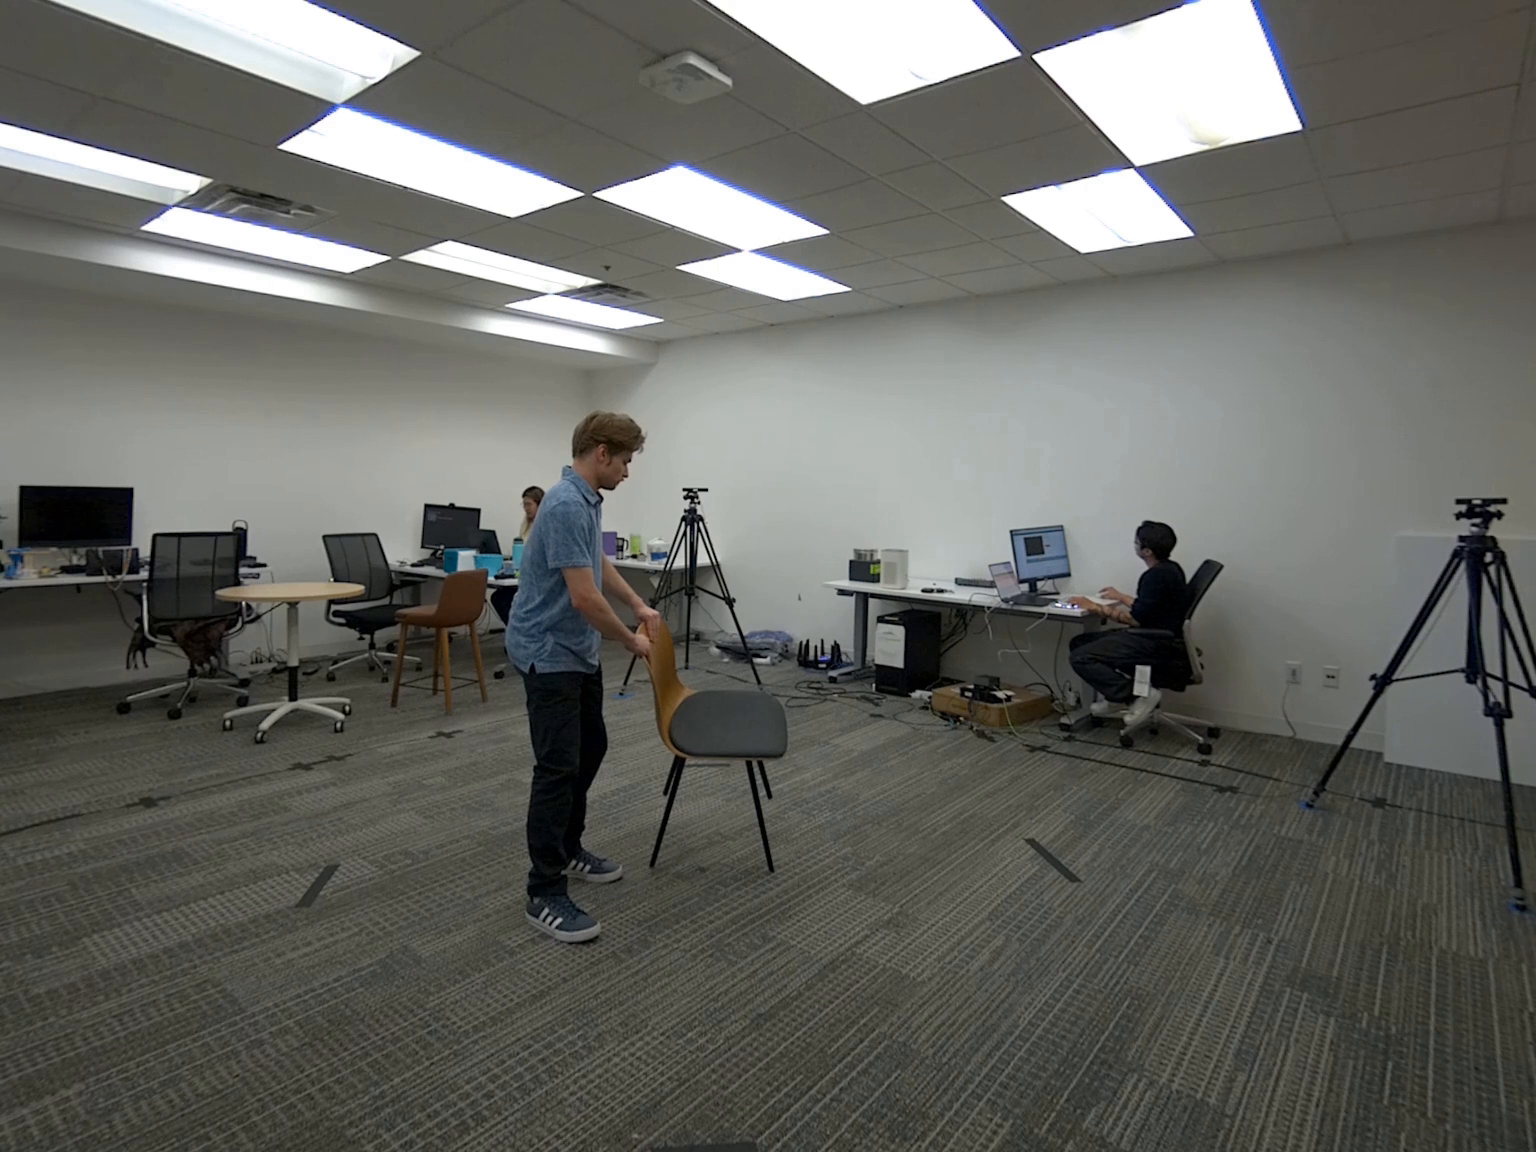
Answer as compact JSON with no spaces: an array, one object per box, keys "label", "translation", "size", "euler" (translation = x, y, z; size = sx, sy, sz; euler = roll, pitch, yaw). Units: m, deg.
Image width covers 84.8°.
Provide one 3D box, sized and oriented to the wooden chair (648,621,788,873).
[{"label":"wooden chair","translation":[-0.196,0.592,3.197],"size":[0.524,0.862,0.486],"euler":[-2,18,2]}]
